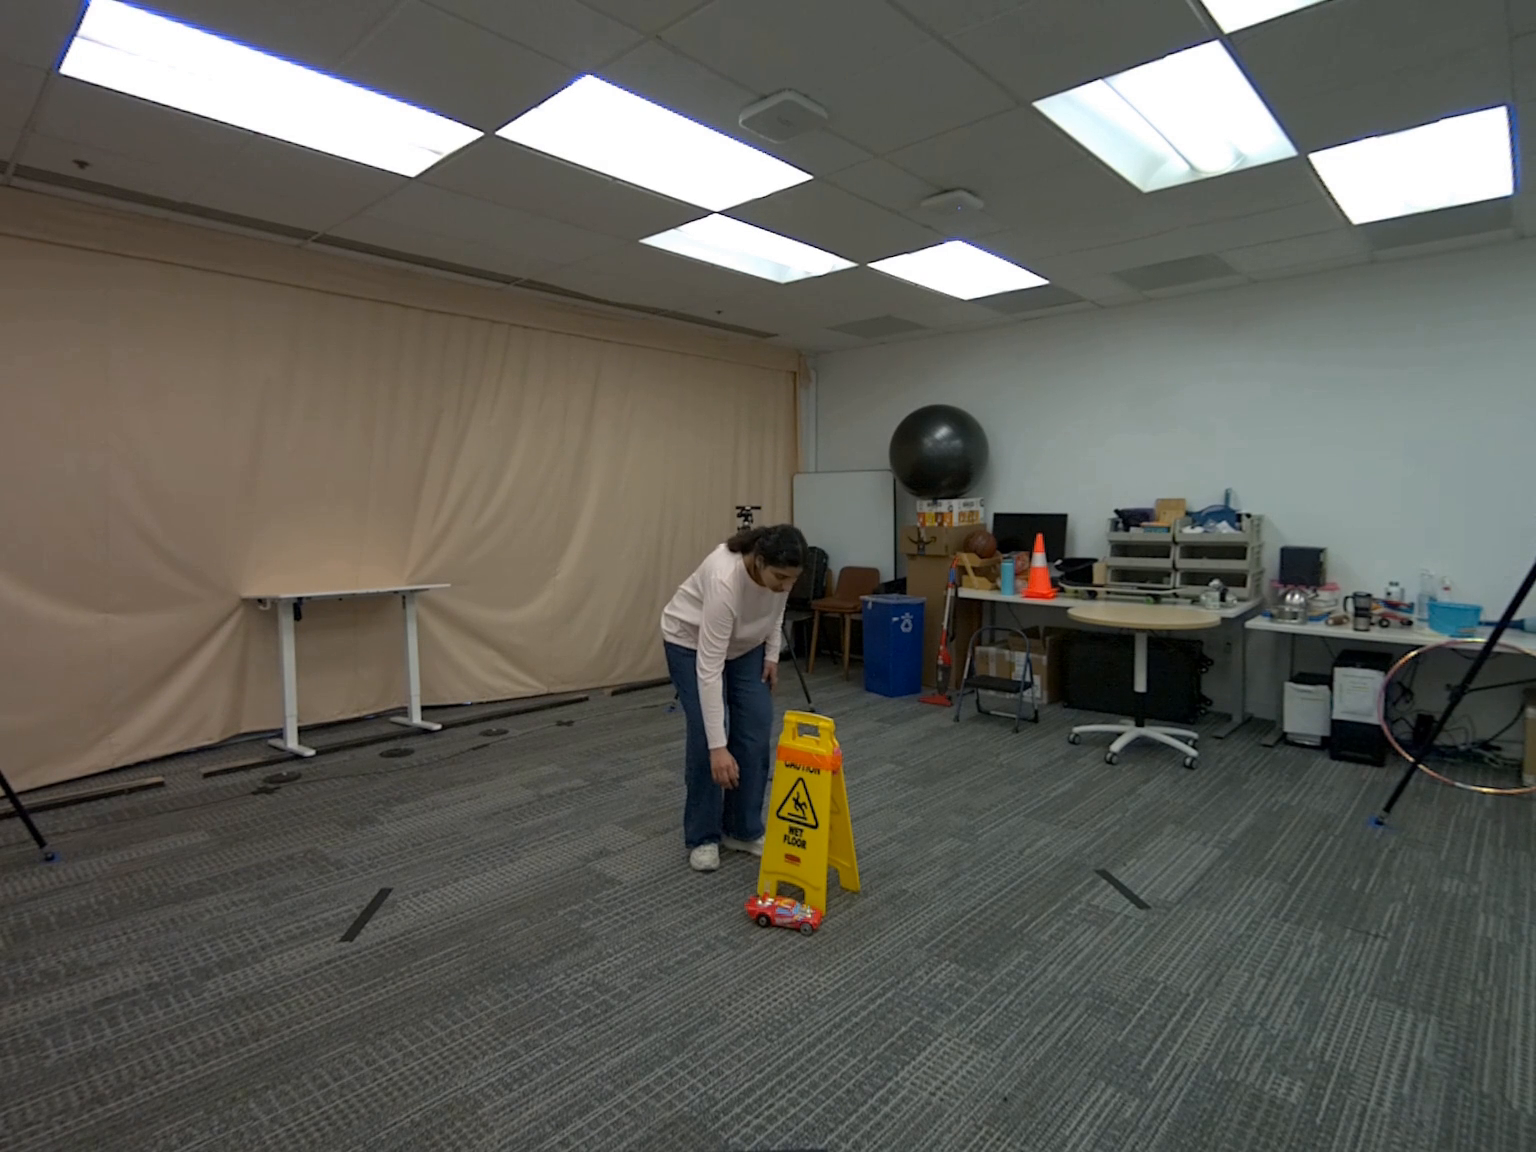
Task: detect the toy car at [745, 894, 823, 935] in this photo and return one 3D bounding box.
[{"bbox_3d":[0.047,1.125,2.814,0.260,0.083,0.128,13,11,18],"label":"toy car"}]
